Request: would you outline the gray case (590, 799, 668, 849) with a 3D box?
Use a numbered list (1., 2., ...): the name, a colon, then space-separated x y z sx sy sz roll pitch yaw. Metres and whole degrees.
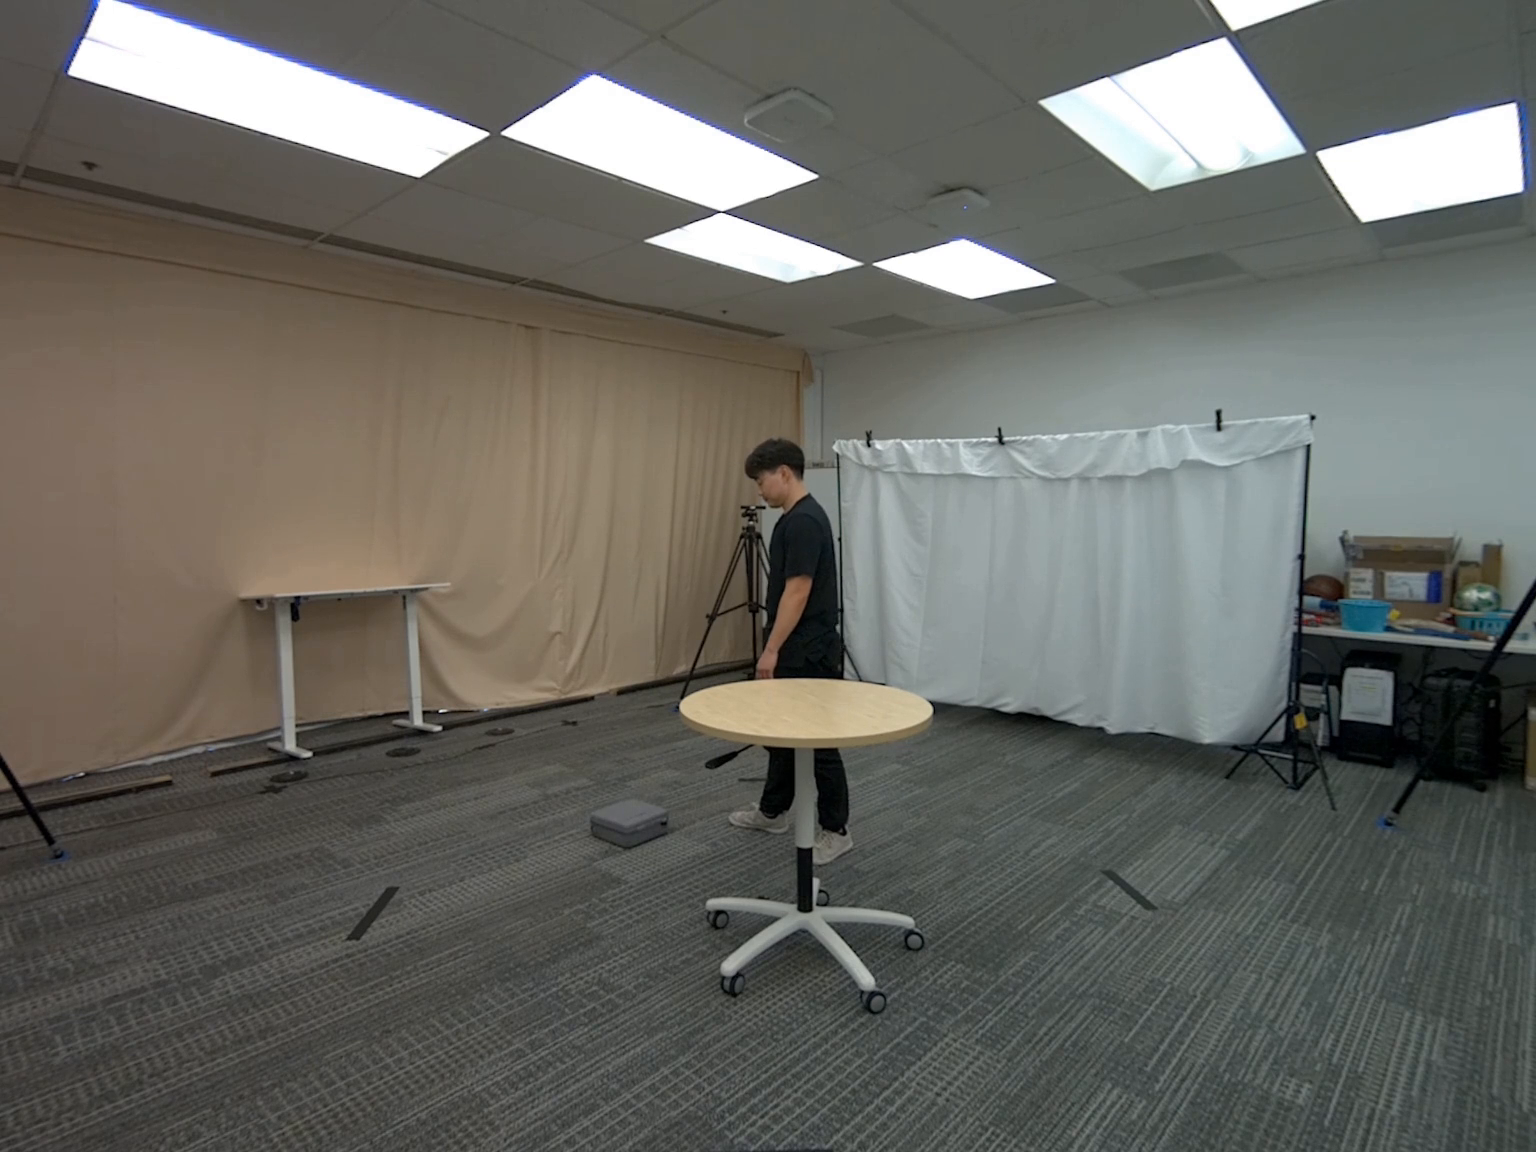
1. gray case: -0.595 1.048 3.585 0.269 0.104 0.249 1 6 41
